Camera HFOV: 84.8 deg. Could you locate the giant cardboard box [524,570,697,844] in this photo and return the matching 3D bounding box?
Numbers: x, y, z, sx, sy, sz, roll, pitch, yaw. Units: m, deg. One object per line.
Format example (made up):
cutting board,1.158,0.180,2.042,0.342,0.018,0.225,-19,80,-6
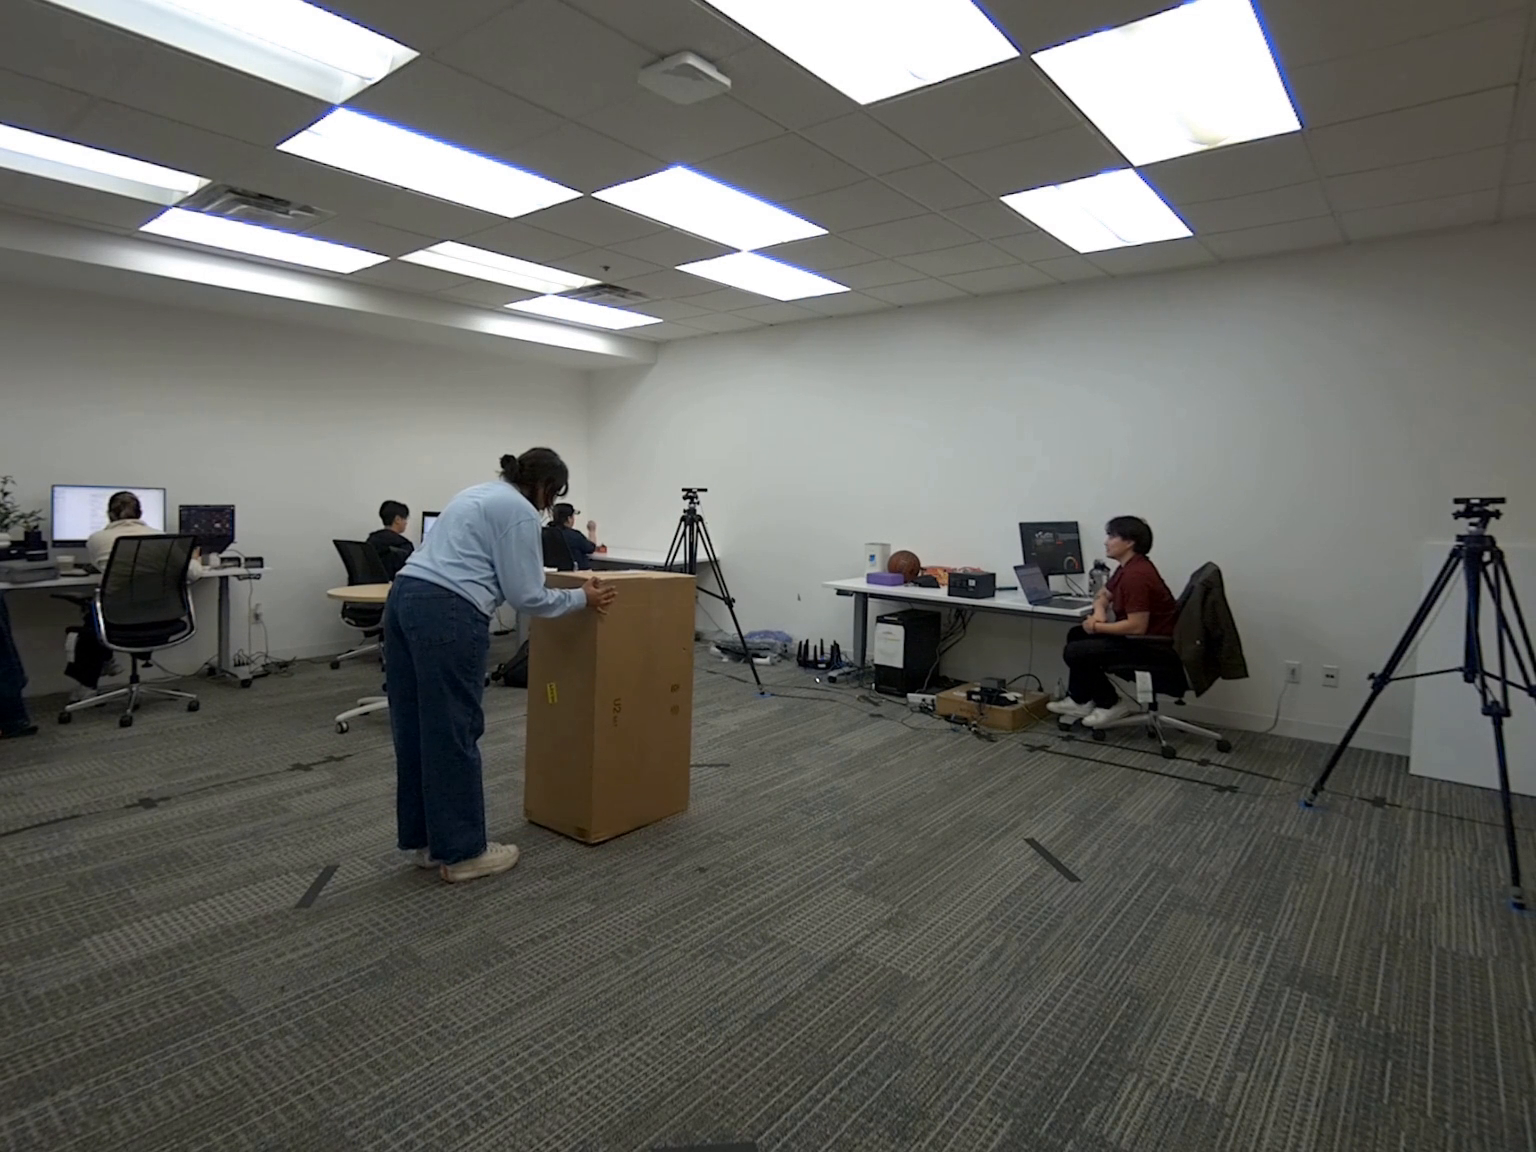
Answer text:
giant cardboard box,-0.674,0.503,3.617,0.440,1.025,0.559,3,2,38
